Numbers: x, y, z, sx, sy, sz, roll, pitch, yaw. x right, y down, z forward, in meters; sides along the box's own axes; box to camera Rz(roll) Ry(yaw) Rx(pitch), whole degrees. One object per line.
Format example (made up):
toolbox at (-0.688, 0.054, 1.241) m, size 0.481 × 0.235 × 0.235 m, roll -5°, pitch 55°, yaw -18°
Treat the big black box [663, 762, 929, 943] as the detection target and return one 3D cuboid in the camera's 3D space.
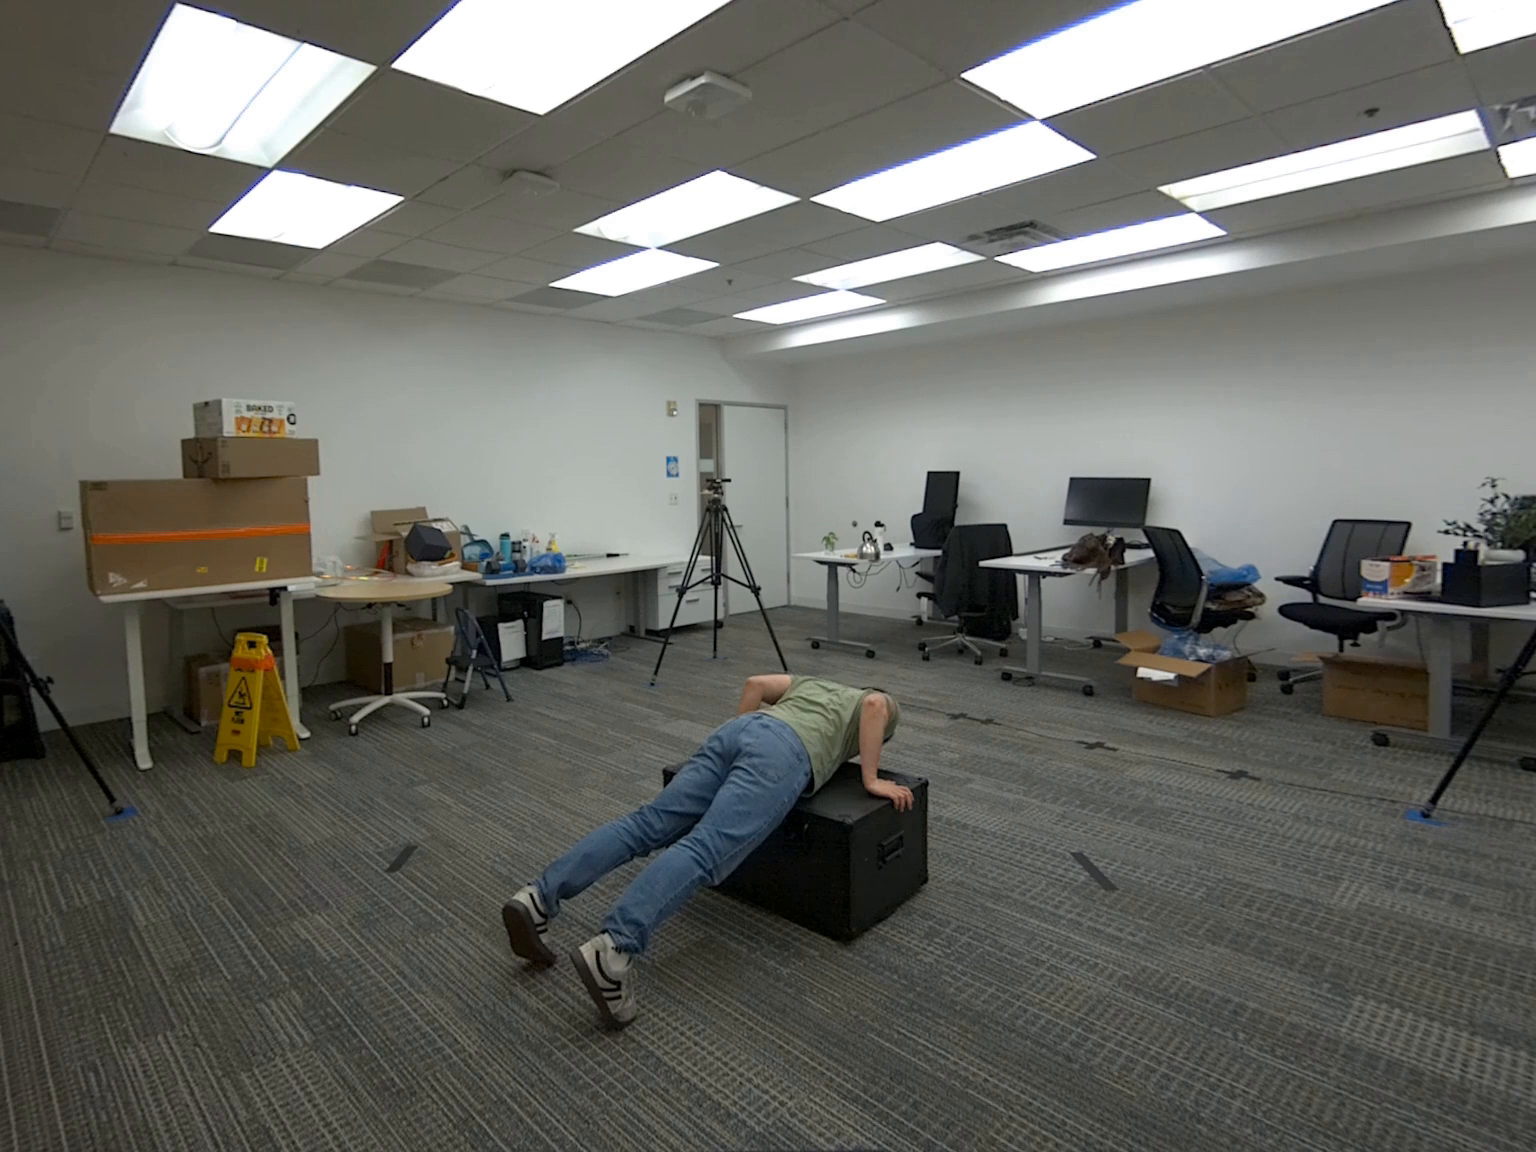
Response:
big black box at (0.061, 0.871, 2.985) m, size 0.888 × 0.394 × 0.508 m, roll 6°, pitch 8°, yaw 40°
